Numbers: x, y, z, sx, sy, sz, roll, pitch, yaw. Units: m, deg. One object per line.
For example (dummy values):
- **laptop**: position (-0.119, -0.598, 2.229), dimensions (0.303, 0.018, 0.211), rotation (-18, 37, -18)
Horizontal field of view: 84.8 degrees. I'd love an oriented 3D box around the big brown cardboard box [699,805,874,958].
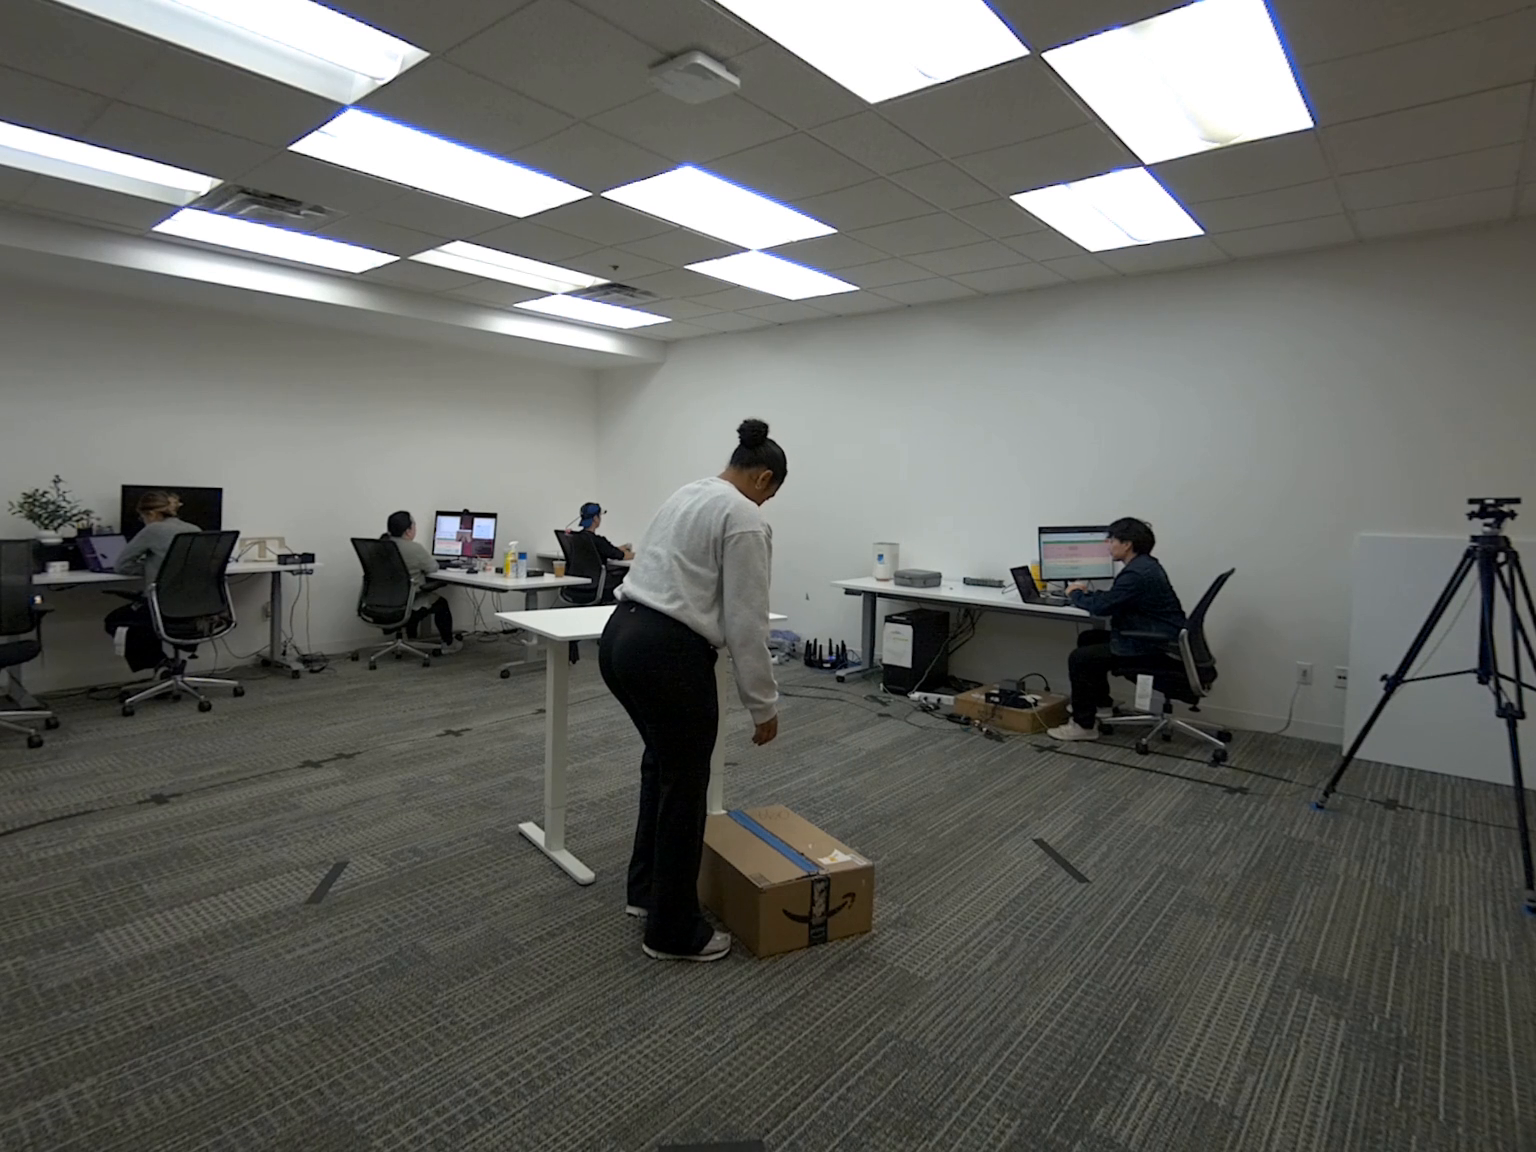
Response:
- **big brown cardboard box**: position (0.005, 0.985, 2.837), dimensions (0.406, 0.232, 0.607), rotation (-1, 5, -30)
